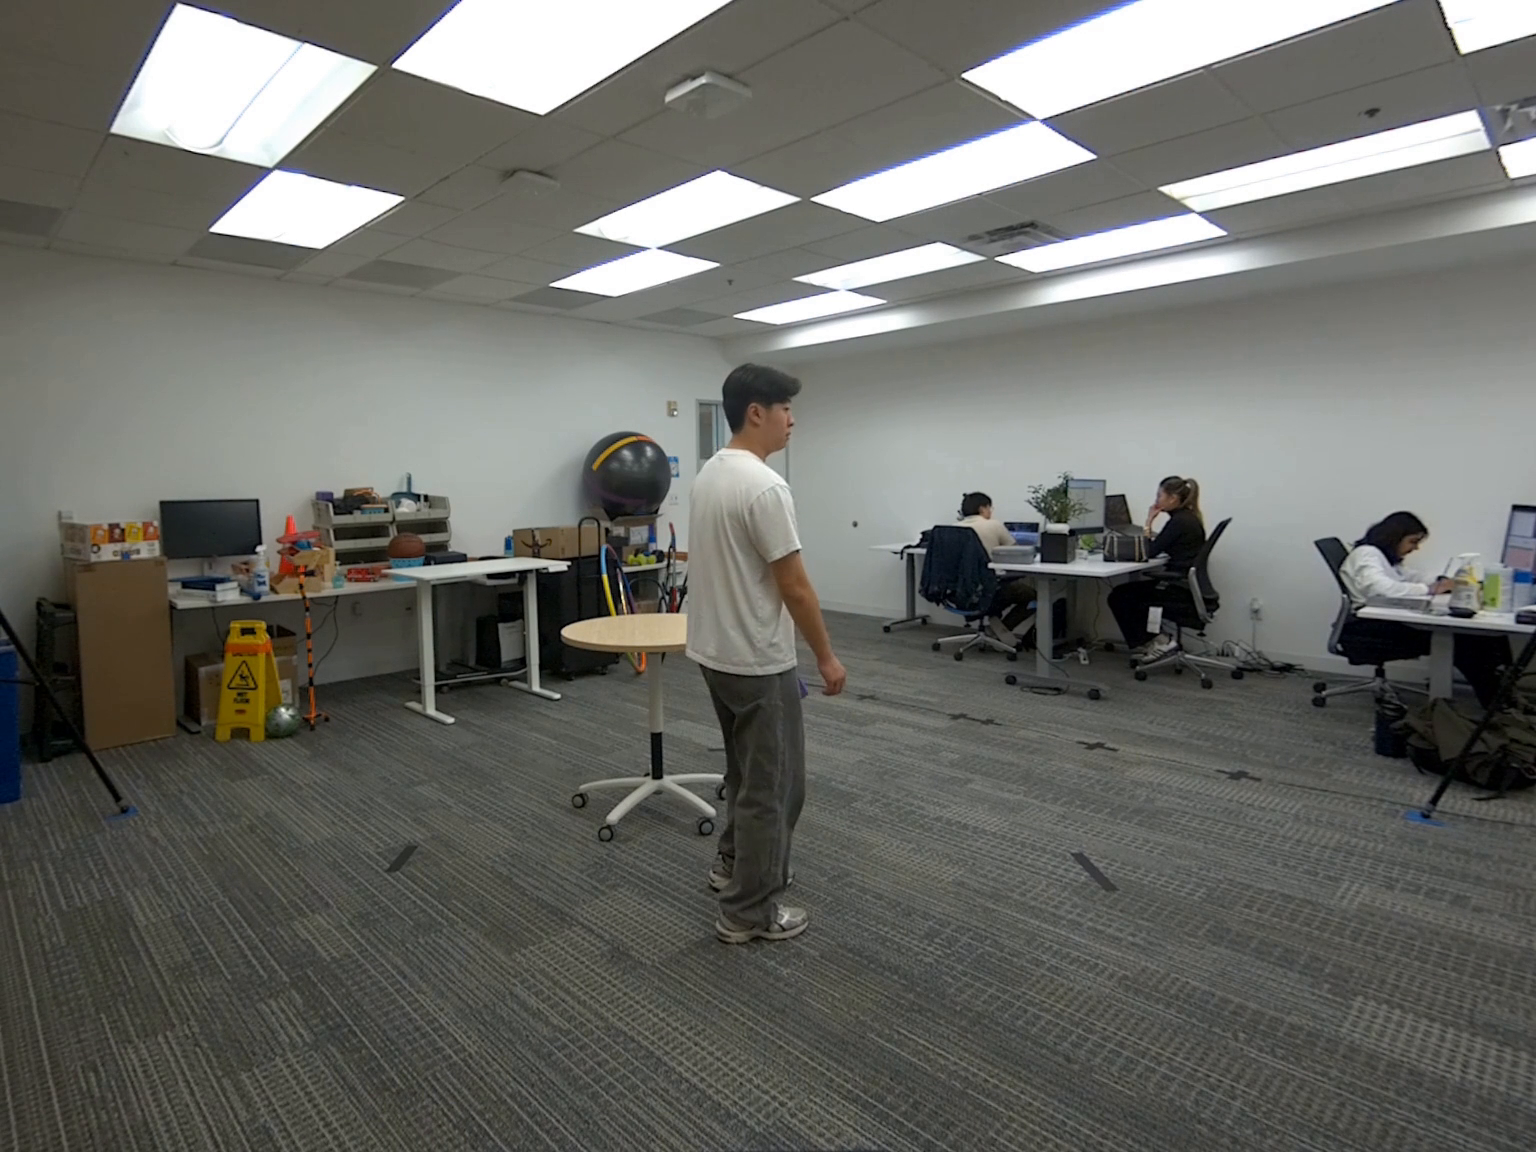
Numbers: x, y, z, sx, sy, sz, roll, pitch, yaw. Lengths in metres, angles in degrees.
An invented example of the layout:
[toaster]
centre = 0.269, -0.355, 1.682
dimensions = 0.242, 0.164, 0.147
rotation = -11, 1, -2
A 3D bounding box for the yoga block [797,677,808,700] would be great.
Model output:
[yoga block]
centre = 0.021, 0.356, 2.987
dimensions = 0.148, 0.226, 0.078
rotation = -31, 11, -10
